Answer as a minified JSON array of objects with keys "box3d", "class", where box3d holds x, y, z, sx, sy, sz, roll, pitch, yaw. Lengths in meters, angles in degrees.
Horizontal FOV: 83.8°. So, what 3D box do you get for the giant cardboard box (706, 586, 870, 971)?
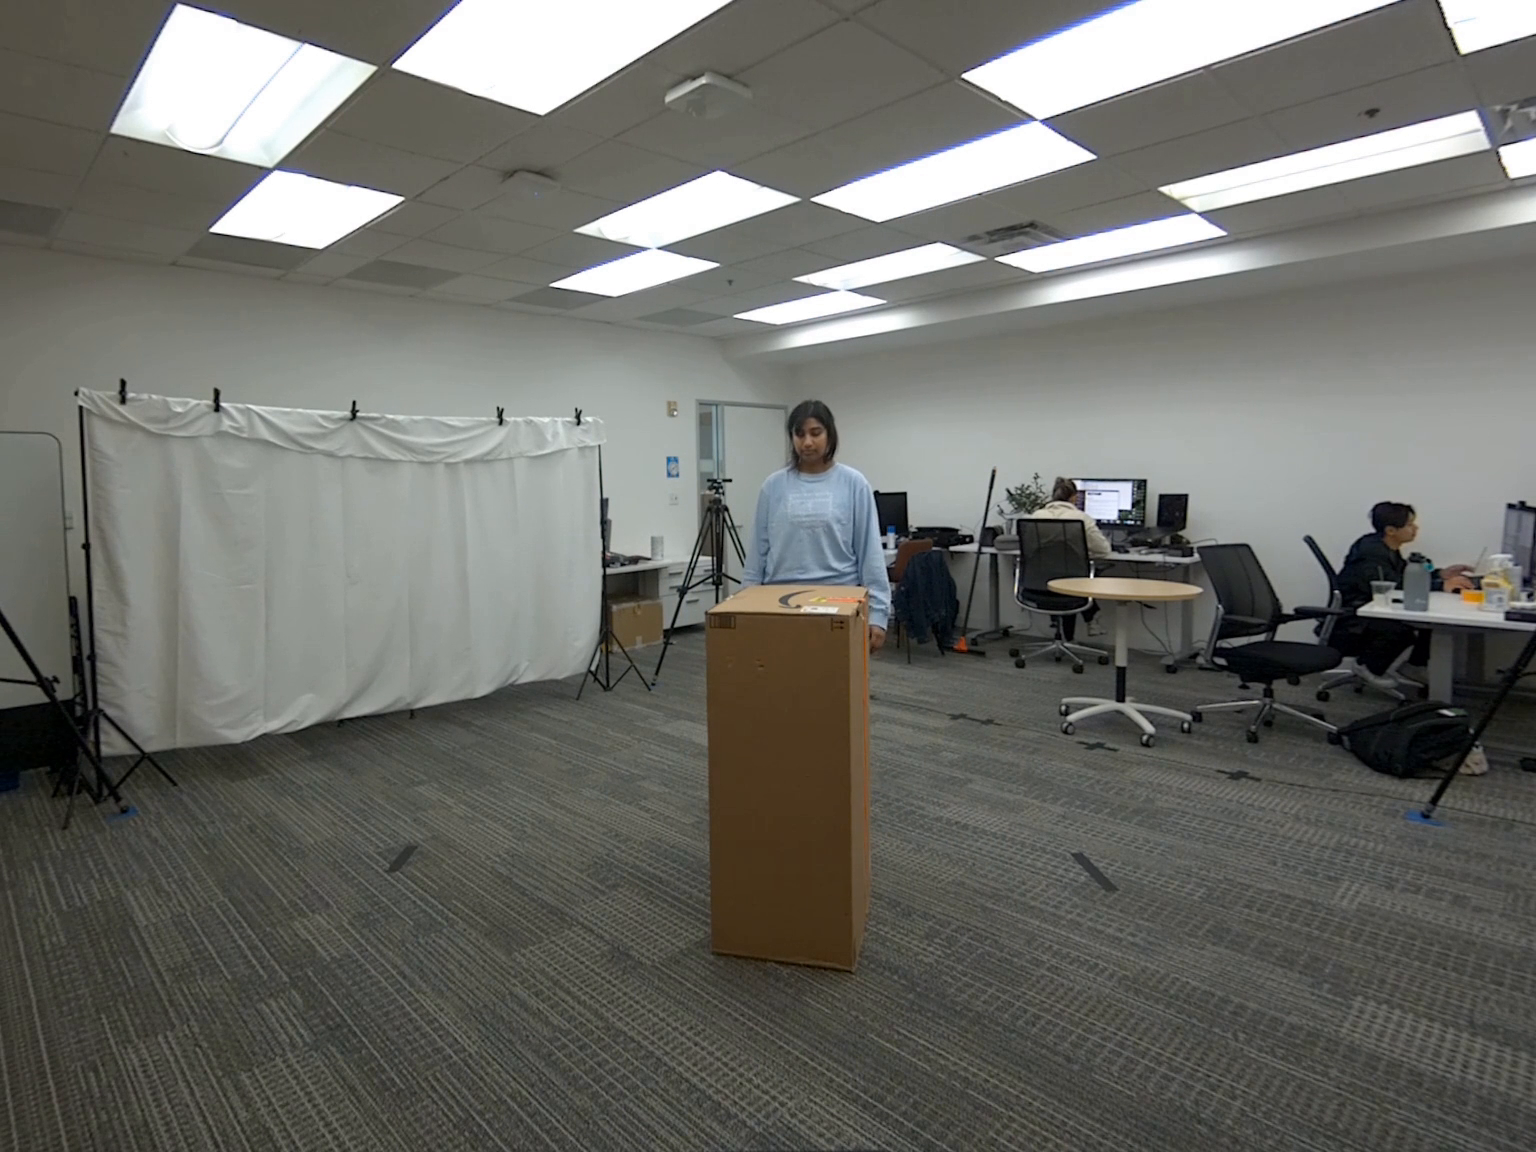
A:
[{"box3d":[0.087,0.581,2.711,0.432,1.022,0.572,0,4,12],"class":"giant cardboard box"}]
